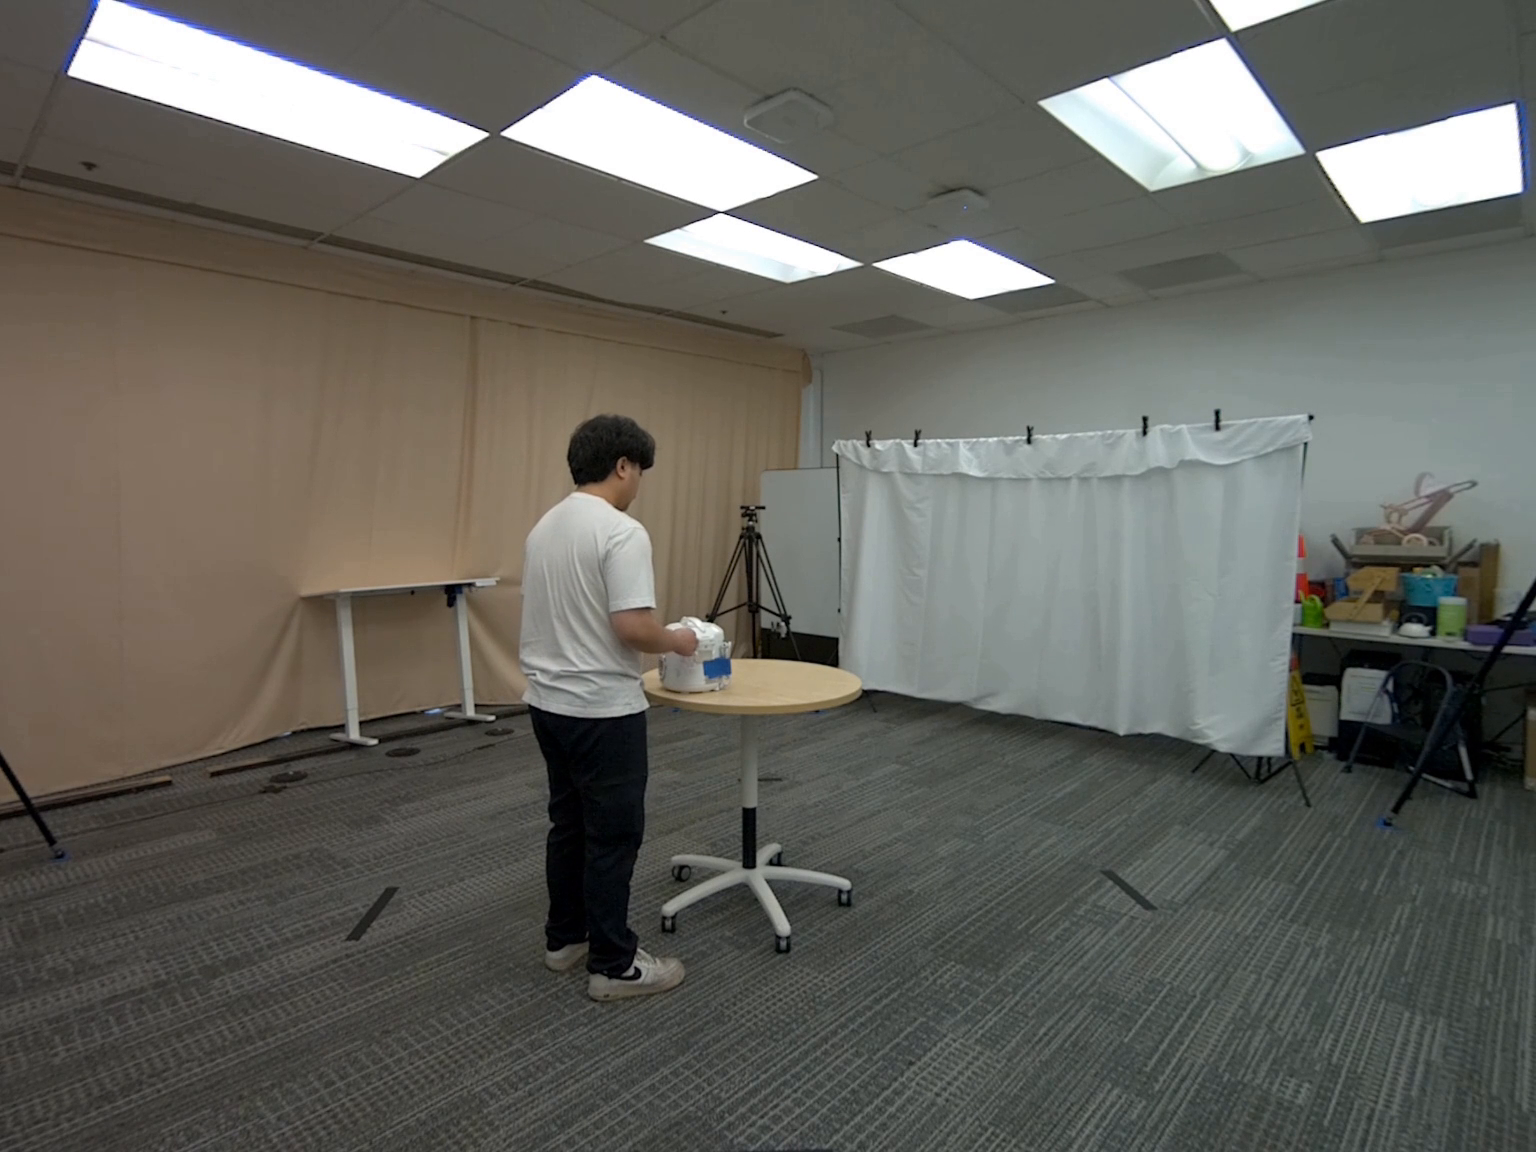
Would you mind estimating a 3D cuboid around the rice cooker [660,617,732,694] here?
[{"bbox_3d":[-0.244,0.253,2.744,0.212,0.232,0.226,-1,3,-26],"label":"rice cooker"}]
